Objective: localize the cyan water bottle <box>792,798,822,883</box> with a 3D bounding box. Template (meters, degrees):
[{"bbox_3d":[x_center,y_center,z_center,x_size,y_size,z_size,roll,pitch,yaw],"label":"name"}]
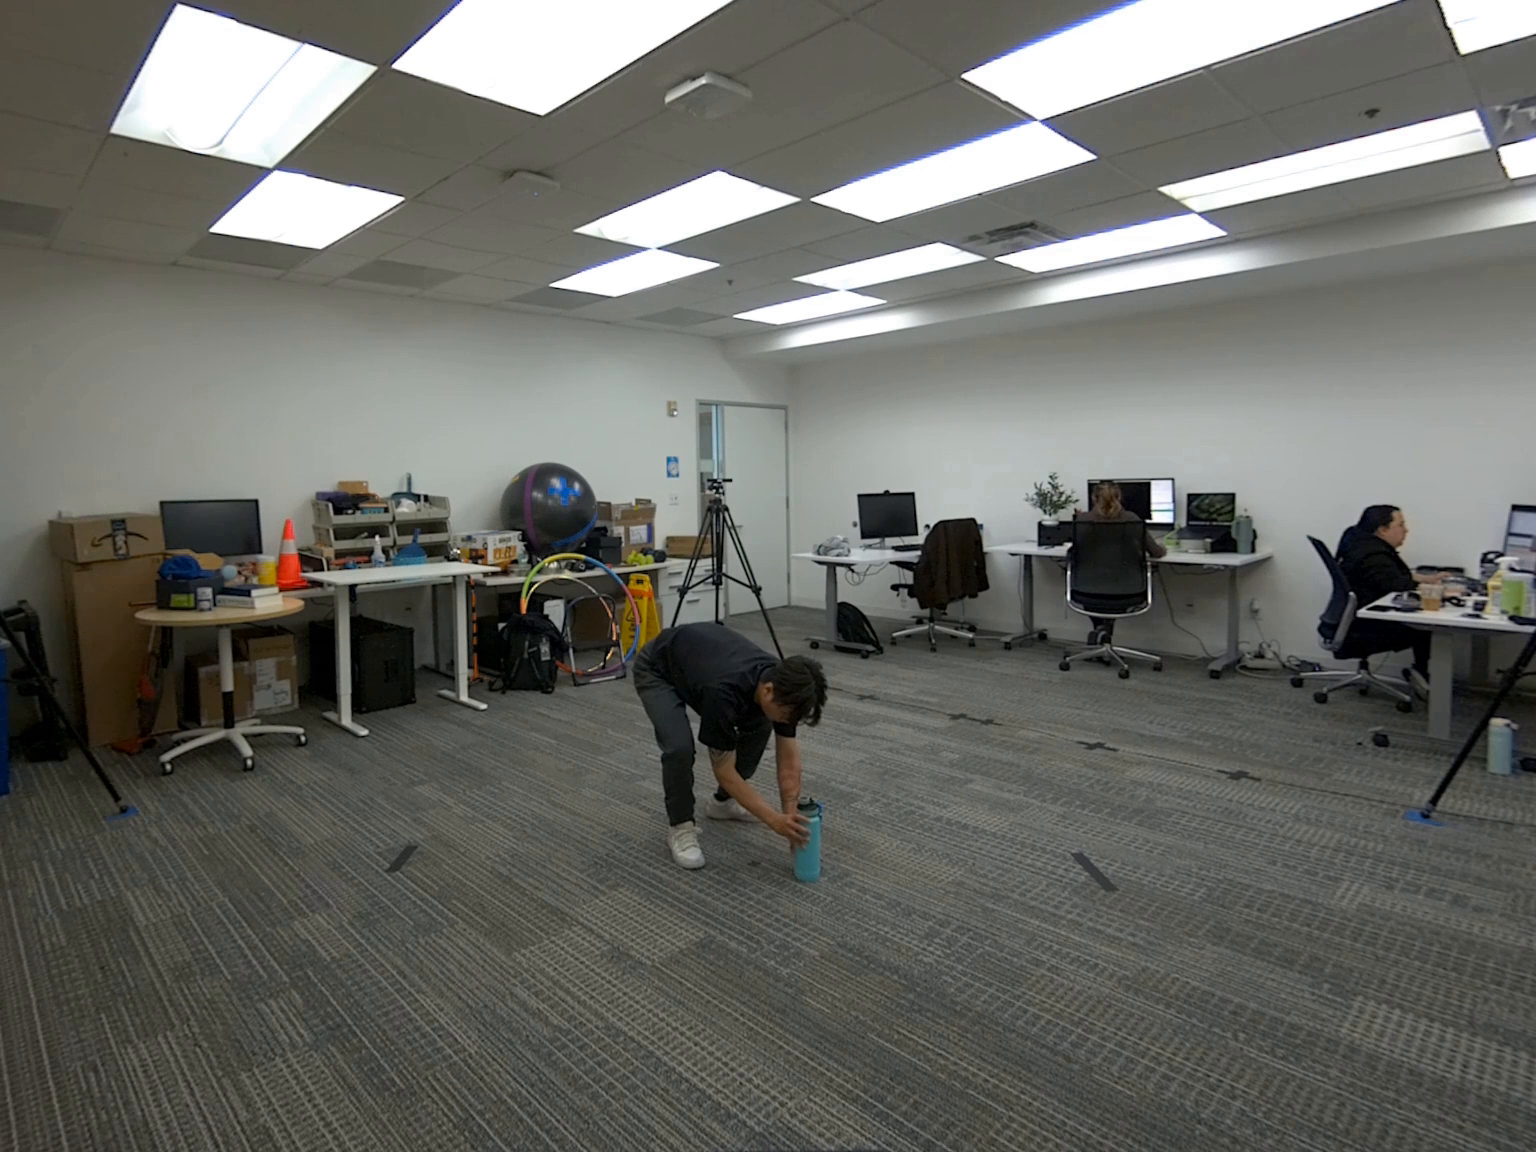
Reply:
[{"bbox_3d":[0.142,0.904,2.986,0.092,0.282,0.093,-2,5,-1],"label":"cyan water bottle"}]
